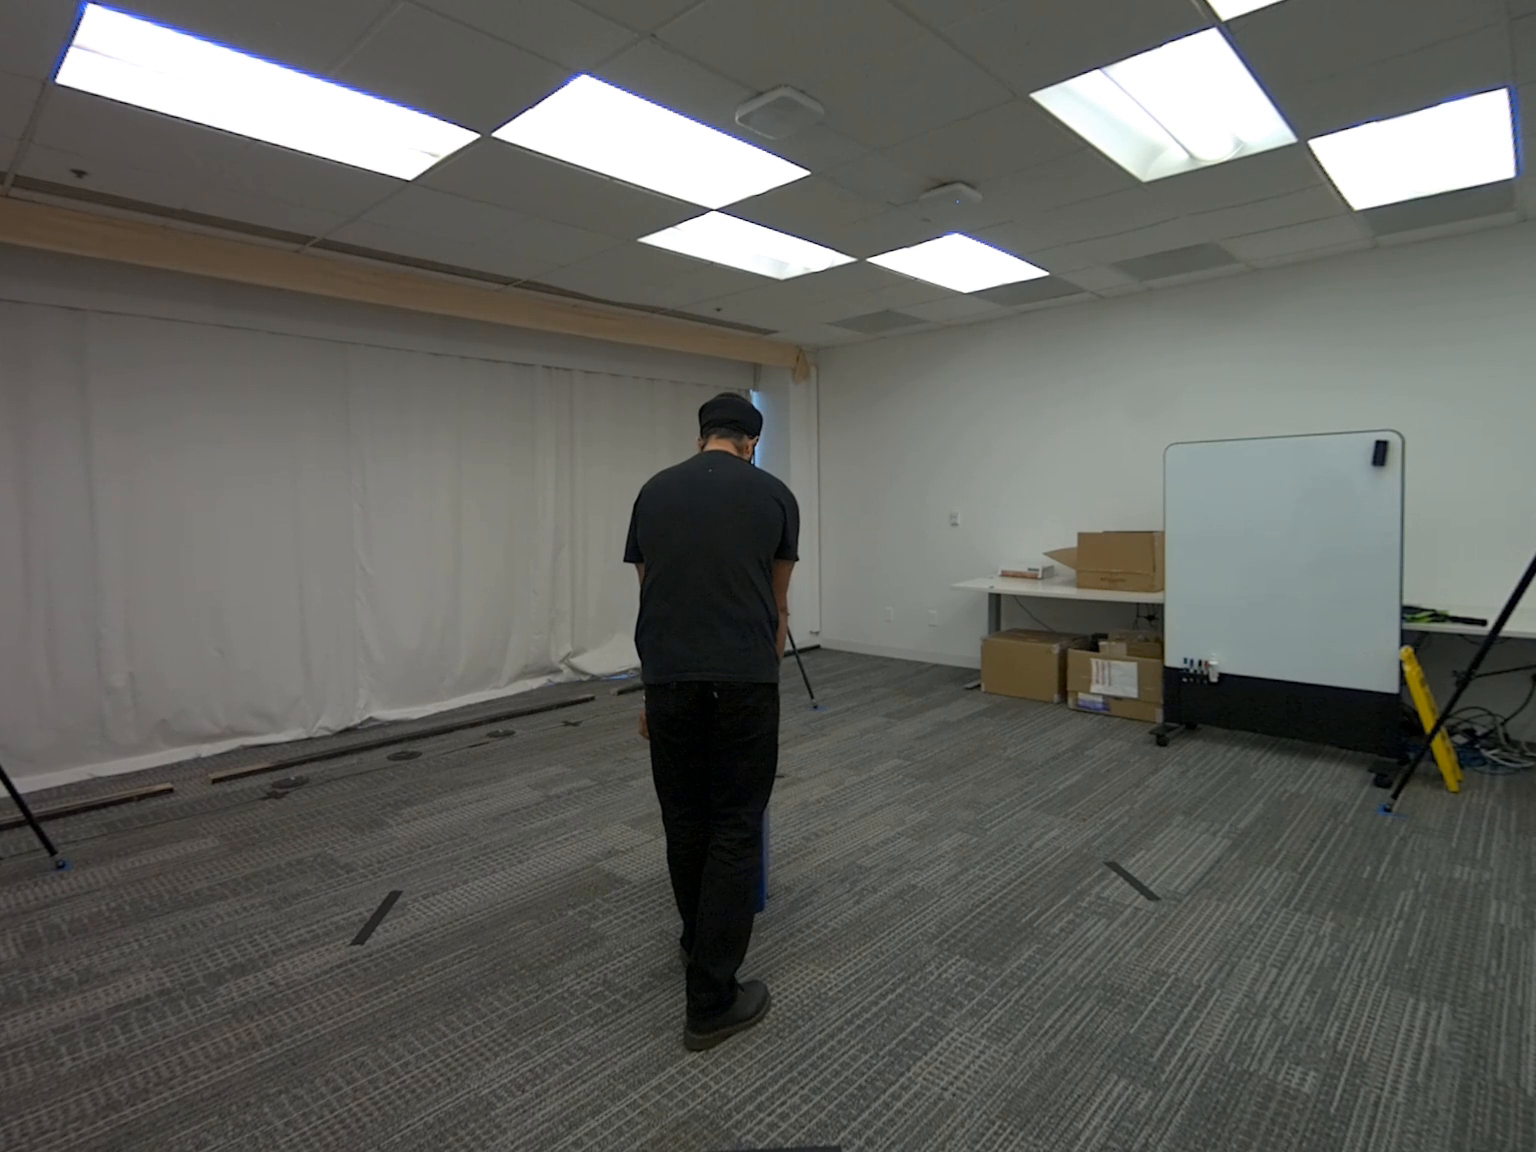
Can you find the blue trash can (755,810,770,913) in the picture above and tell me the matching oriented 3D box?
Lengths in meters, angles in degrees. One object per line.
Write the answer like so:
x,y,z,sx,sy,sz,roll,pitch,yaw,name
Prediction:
-0.151,0.769,2.889,0.379,0.704,0.377,-2,19,2,blue trash can
